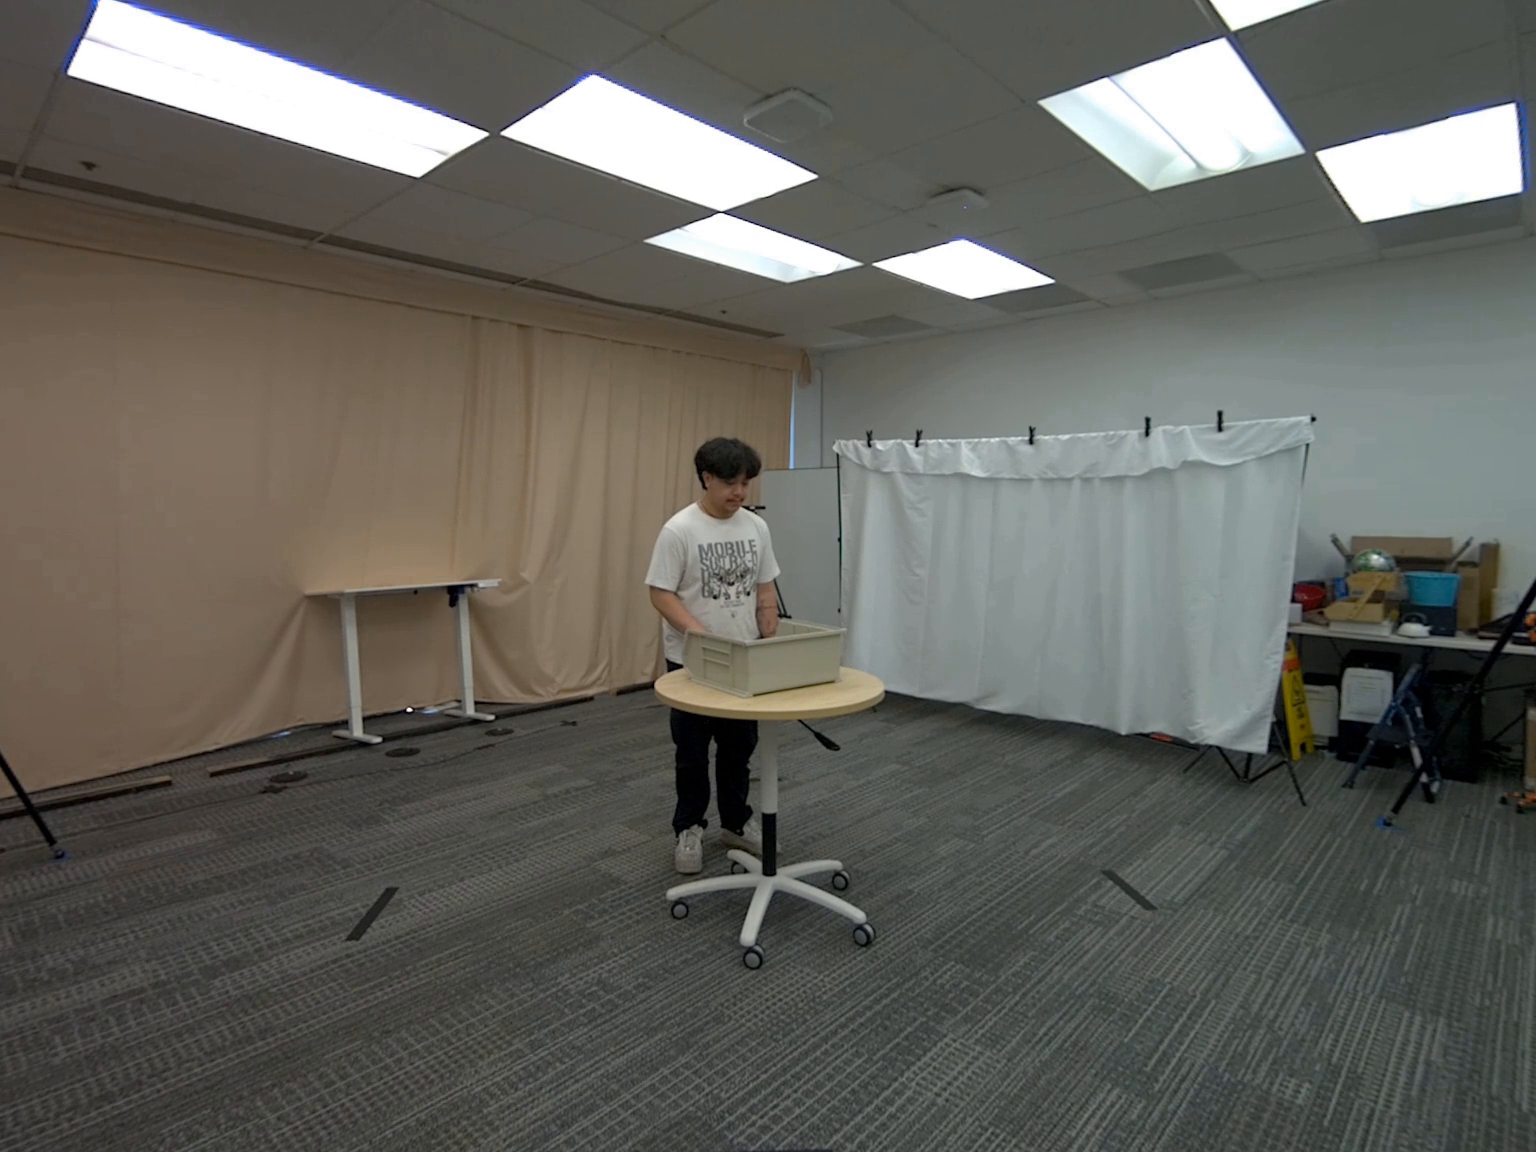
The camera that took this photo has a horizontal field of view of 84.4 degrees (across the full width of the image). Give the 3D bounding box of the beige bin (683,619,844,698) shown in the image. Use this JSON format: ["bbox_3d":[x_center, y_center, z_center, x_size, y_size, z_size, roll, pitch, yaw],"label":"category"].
[{"bbox_3d":[-0.015,0.264,2.857,0.410,0.188,0.390,-2,6,-36],"label":"beige bin"}]
